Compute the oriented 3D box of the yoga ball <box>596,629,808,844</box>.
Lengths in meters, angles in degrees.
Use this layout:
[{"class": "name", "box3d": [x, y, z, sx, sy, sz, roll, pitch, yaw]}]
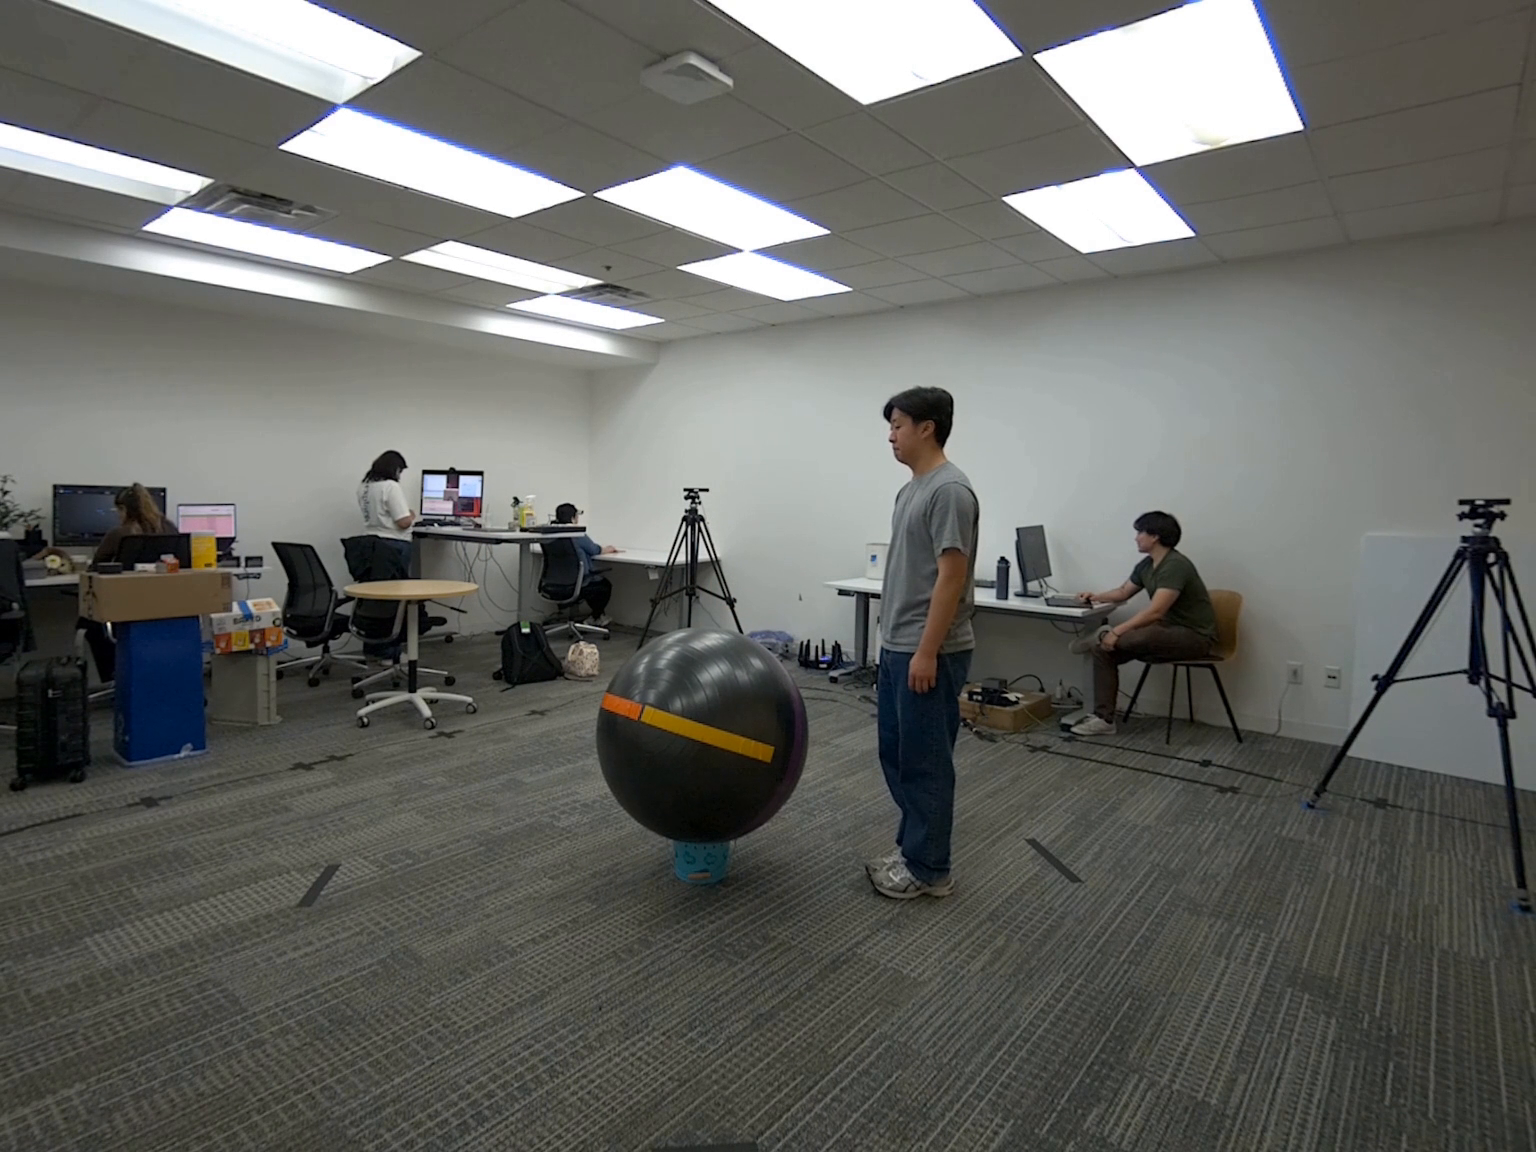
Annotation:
[{"class": "yoga ball", "box3d": [-0.257, 0.566, 3.064, 0.757, 0.755, 0.762, 1, 4, -2]}]
